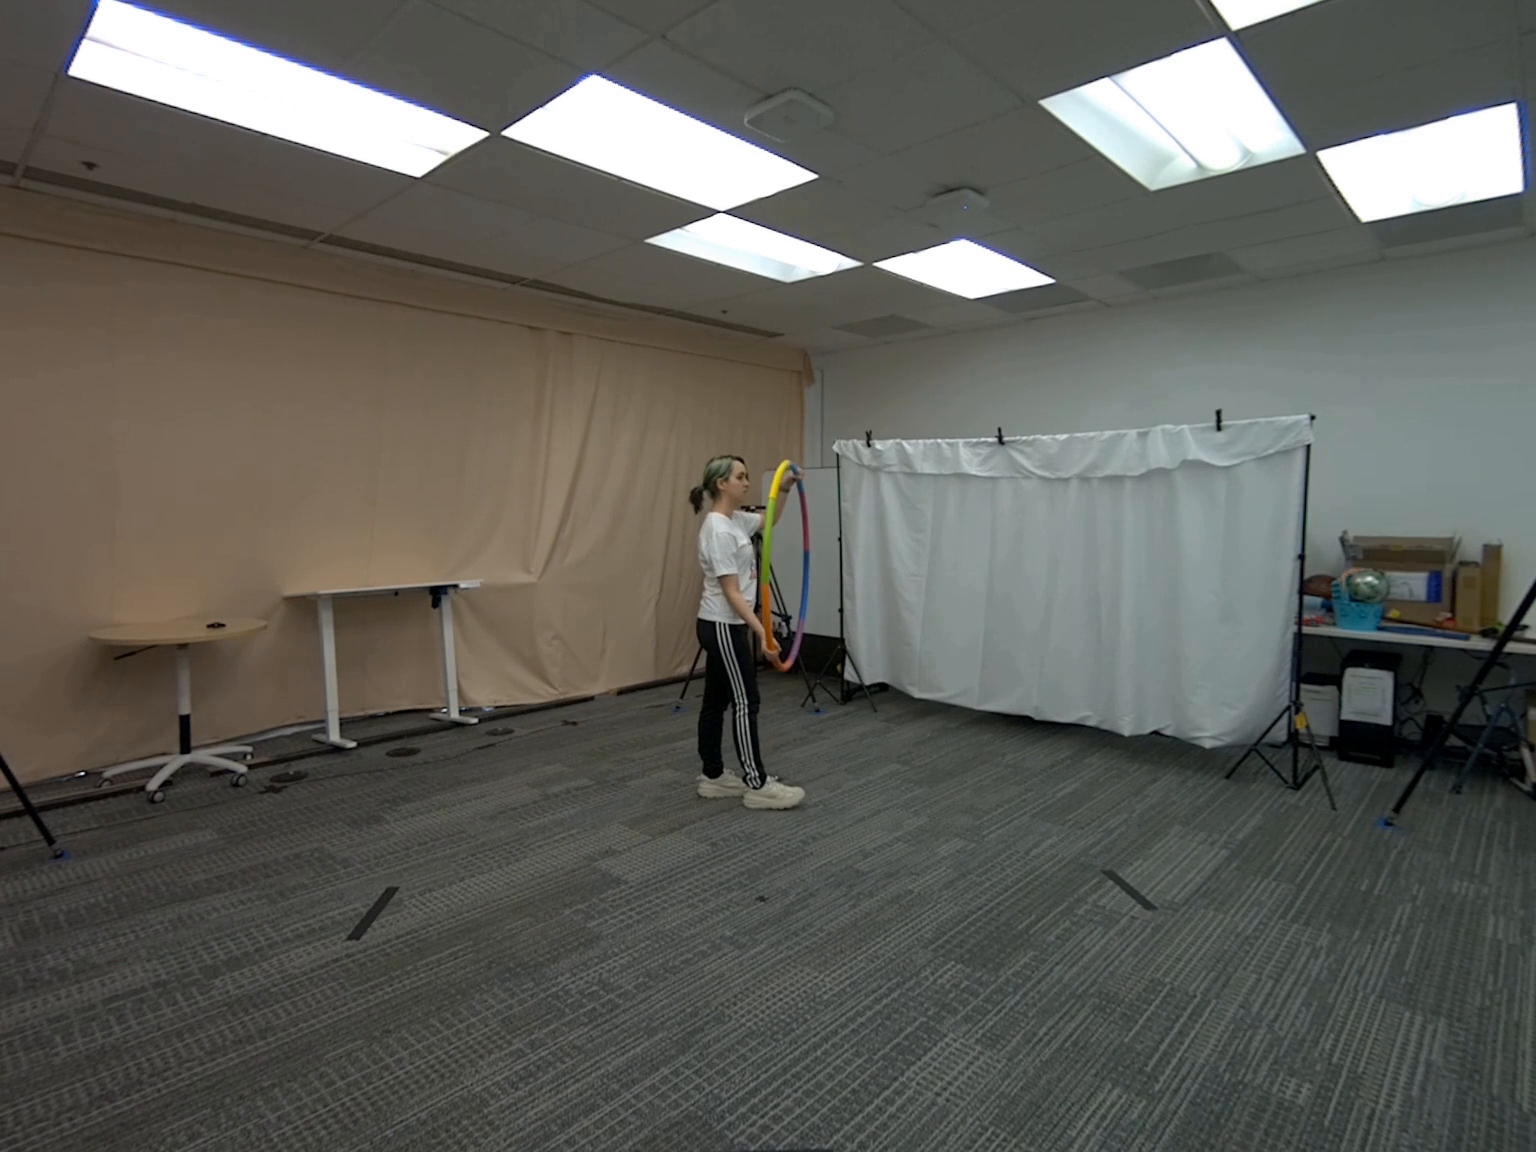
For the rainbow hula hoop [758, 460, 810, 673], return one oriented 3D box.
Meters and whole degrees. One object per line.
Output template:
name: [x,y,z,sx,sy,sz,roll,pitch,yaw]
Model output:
rainbow hula hoop: [0.093,-0.049,3.981,0.036,0.976,0.965,1,4,13]
